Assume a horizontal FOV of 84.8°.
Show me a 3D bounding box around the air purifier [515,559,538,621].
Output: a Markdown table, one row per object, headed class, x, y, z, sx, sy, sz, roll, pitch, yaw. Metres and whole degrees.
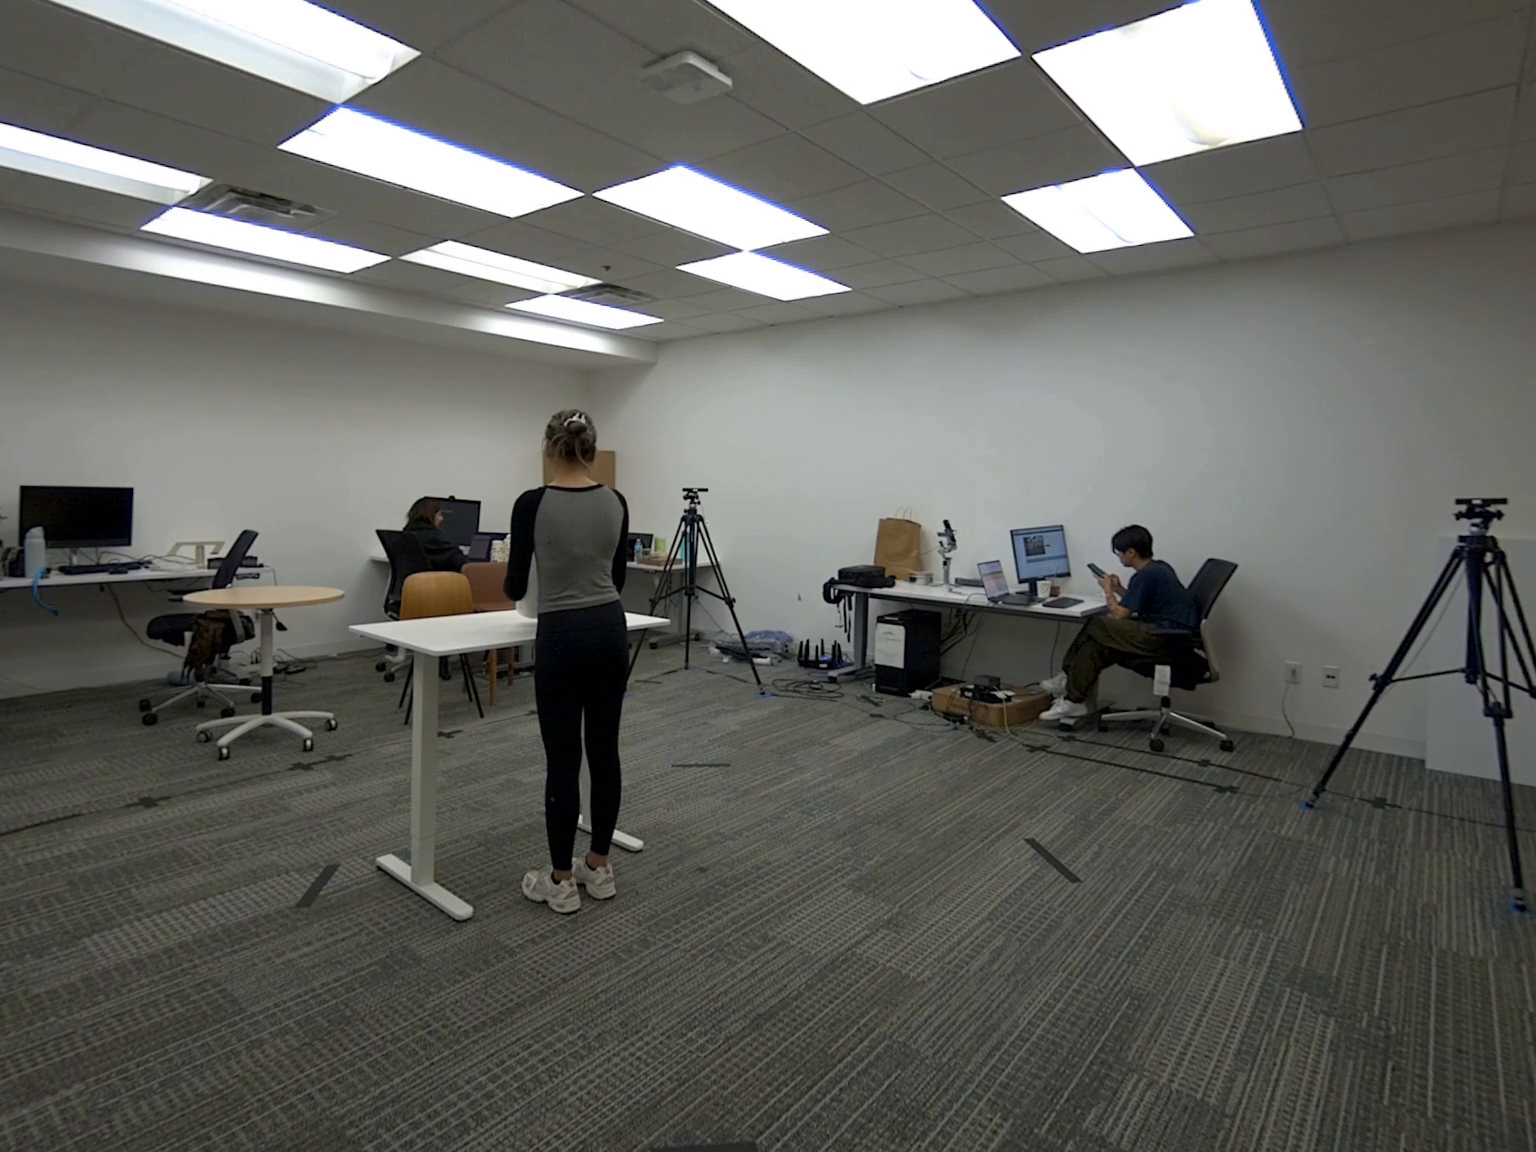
| class | x | y | z | sx | sy | sz | roll | pitch | yaw |
| --- | --- | --- | --- | --- | --- | --- | --- | --- | --- |
| air purifier | -0.830 | 0.015 | 3.123 | 0.167 | 0.264 | 0.176 | 1 | 4 | -30 |
